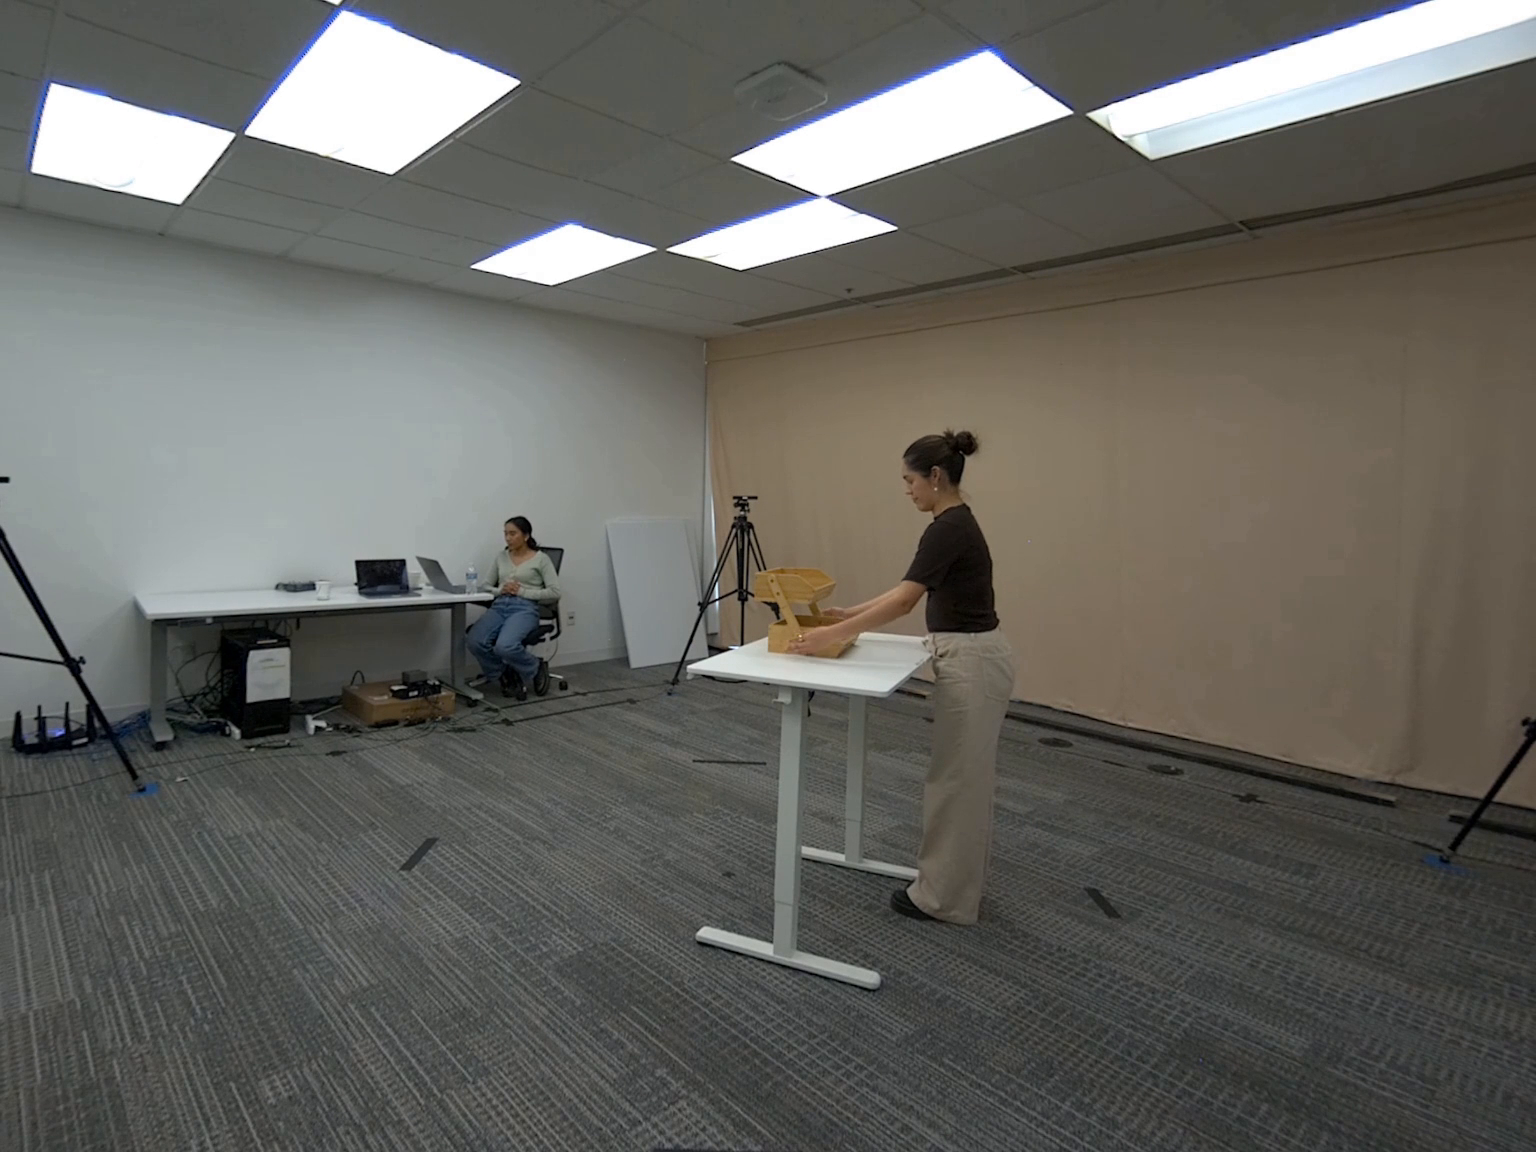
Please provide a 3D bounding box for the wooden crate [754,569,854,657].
[{"bbox_3d":[0.147,0.118,2.883,0.306,0.272,0.321,4,5,17],"label":"wooden crate"}]
